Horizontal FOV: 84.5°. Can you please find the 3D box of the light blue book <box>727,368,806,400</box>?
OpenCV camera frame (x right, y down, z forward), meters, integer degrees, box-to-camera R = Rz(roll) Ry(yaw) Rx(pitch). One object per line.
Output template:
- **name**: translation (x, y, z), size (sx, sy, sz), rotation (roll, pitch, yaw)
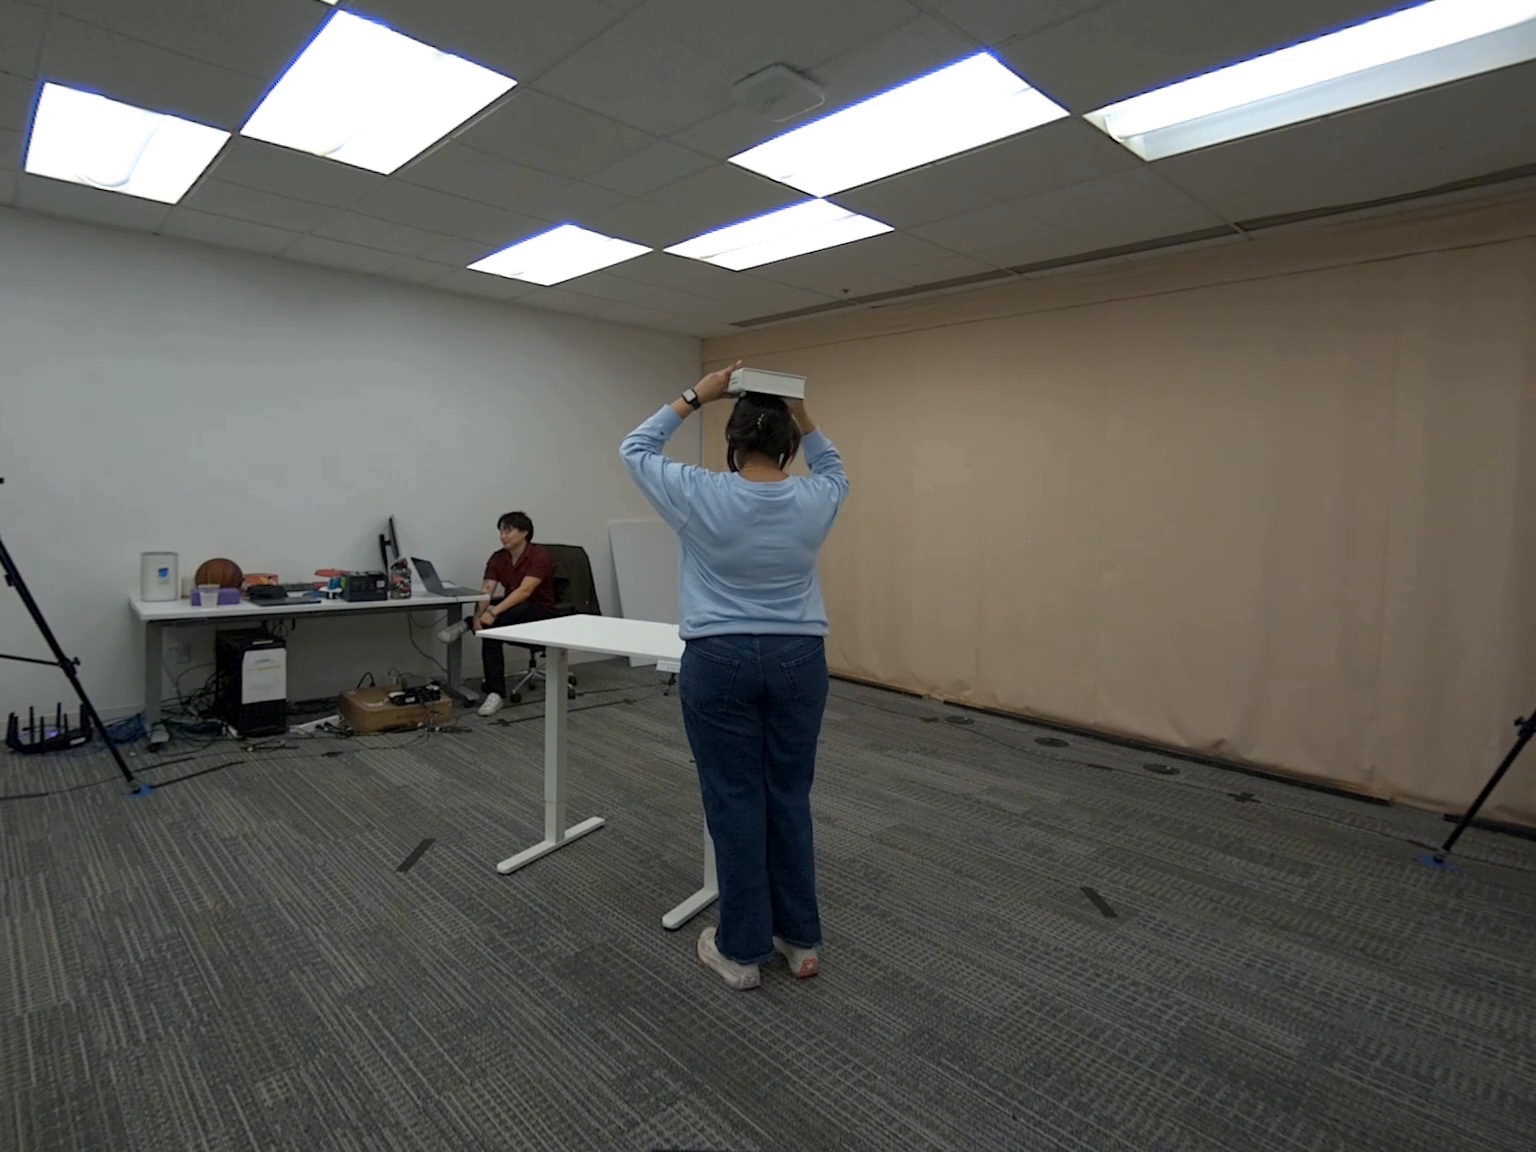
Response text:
- **light blue book**: translation (-0.017, -0.549, 2.422), size (0.191, 0.059, 0.262), rotation (7, 5, -4)
